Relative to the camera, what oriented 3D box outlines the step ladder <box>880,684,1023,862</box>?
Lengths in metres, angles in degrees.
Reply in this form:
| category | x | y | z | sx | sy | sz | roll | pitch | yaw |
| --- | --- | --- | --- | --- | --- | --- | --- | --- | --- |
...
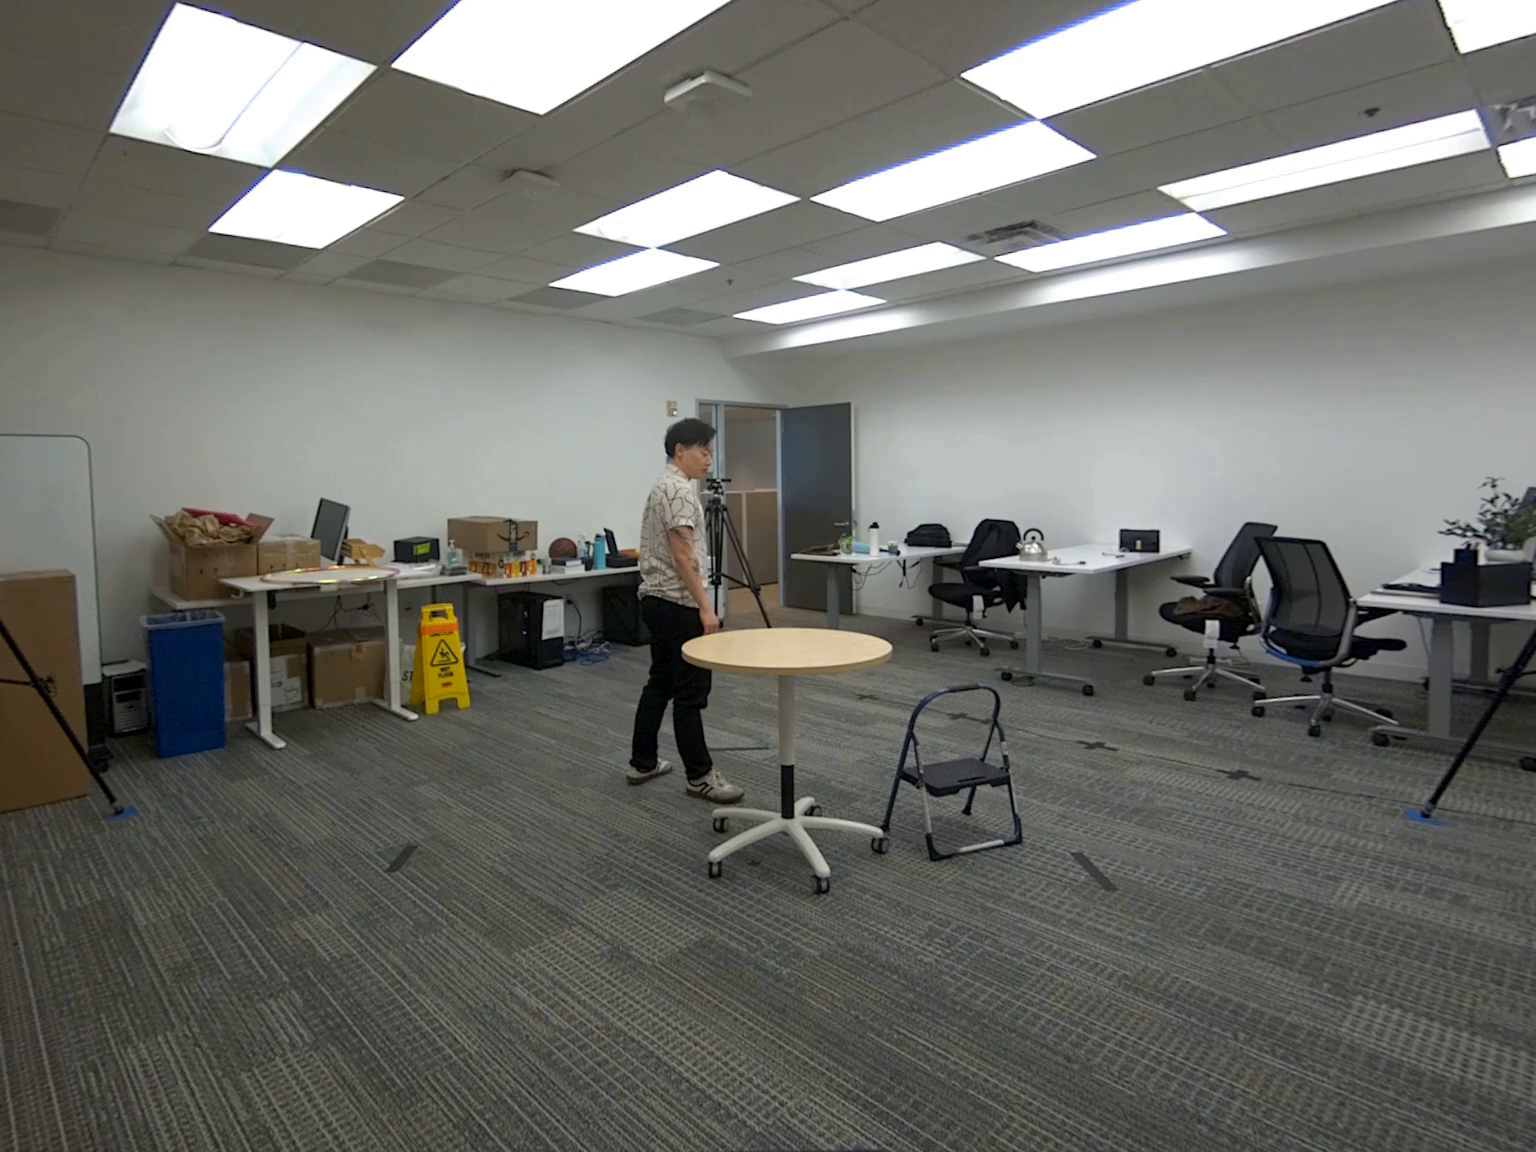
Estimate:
| category | x | y | z | sx | sy | sz | roll | pitch | yaw |
| --- | --- | --- | --- | --- | --- | --- | --- | --- | --- |
| step ladder | 0.706 | 0.710 | 3.299 | 0.422 | 0.604 | 0.358 | -2 | 4 | -25 |
